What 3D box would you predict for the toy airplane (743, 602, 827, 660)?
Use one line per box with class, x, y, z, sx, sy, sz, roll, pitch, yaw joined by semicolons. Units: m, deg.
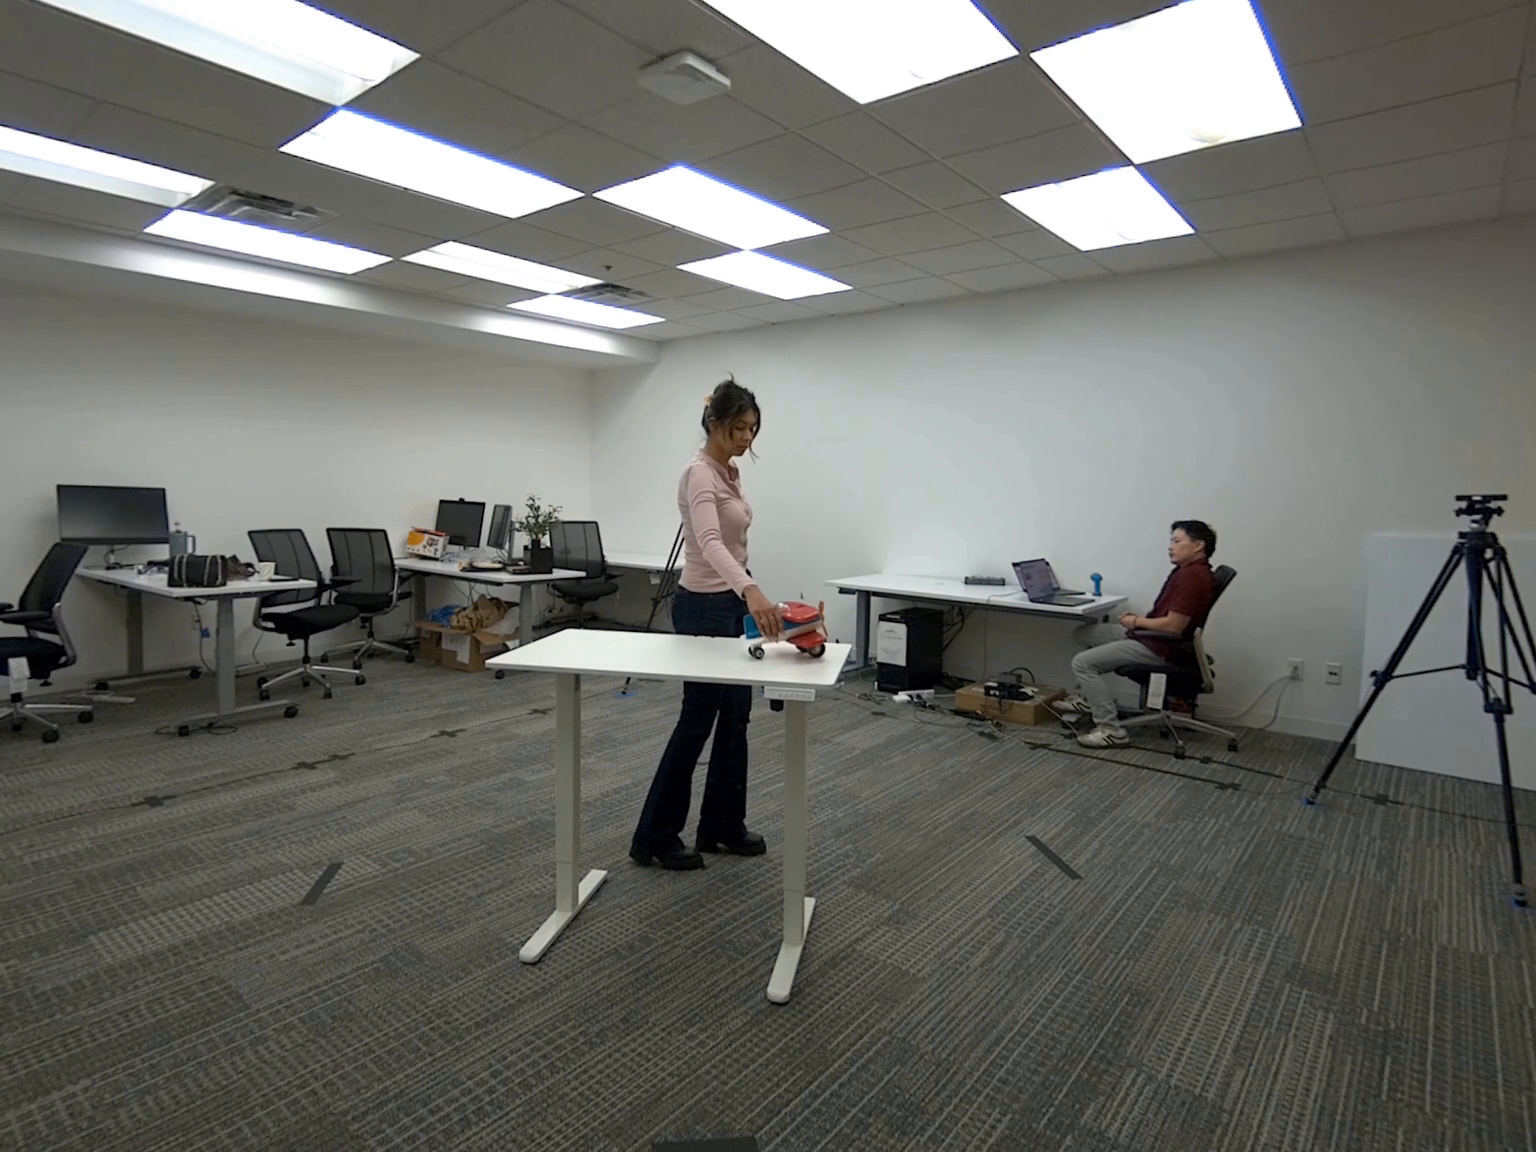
toy airplane;0.049;0.168;2.563;0.251;0.156;0.260;-5;8;-44
